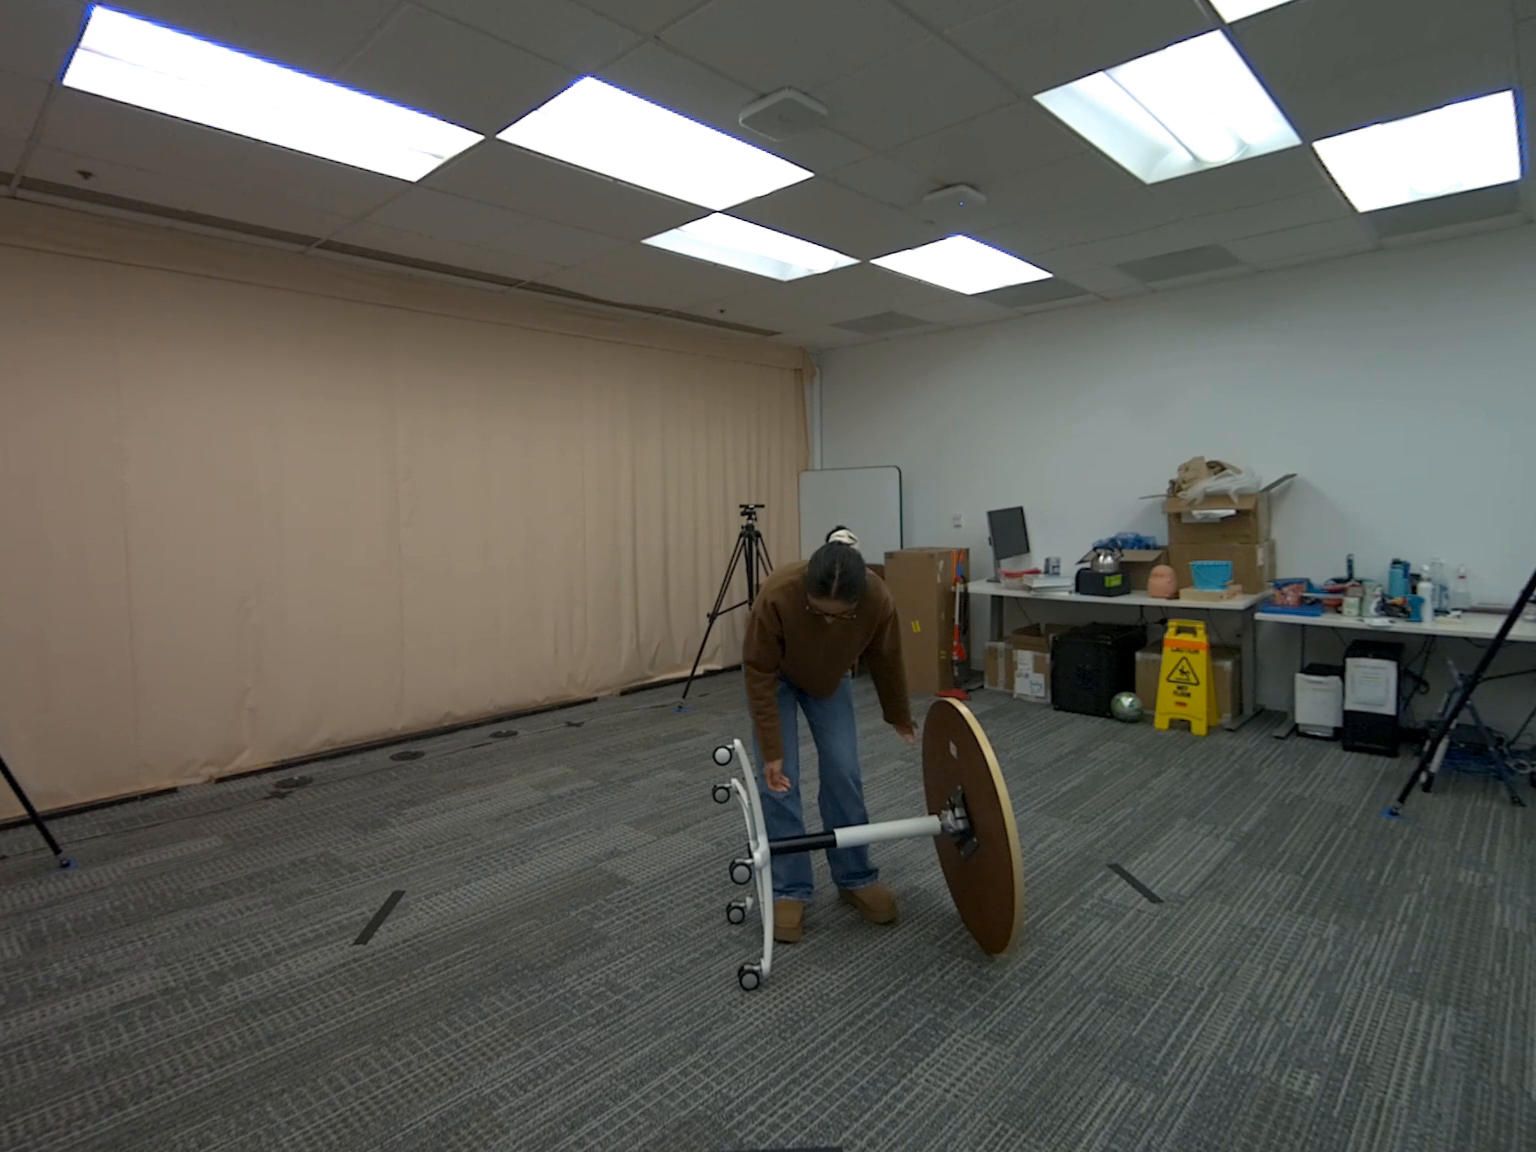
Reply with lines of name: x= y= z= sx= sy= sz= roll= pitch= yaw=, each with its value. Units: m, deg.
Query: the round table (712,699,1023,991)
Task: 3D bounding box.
round table: x=0.258 y=0.825 z=2.625 sx=0.790 sy=0.761 sz=0.770 roll=-7 pitch=5 yaw=-6
